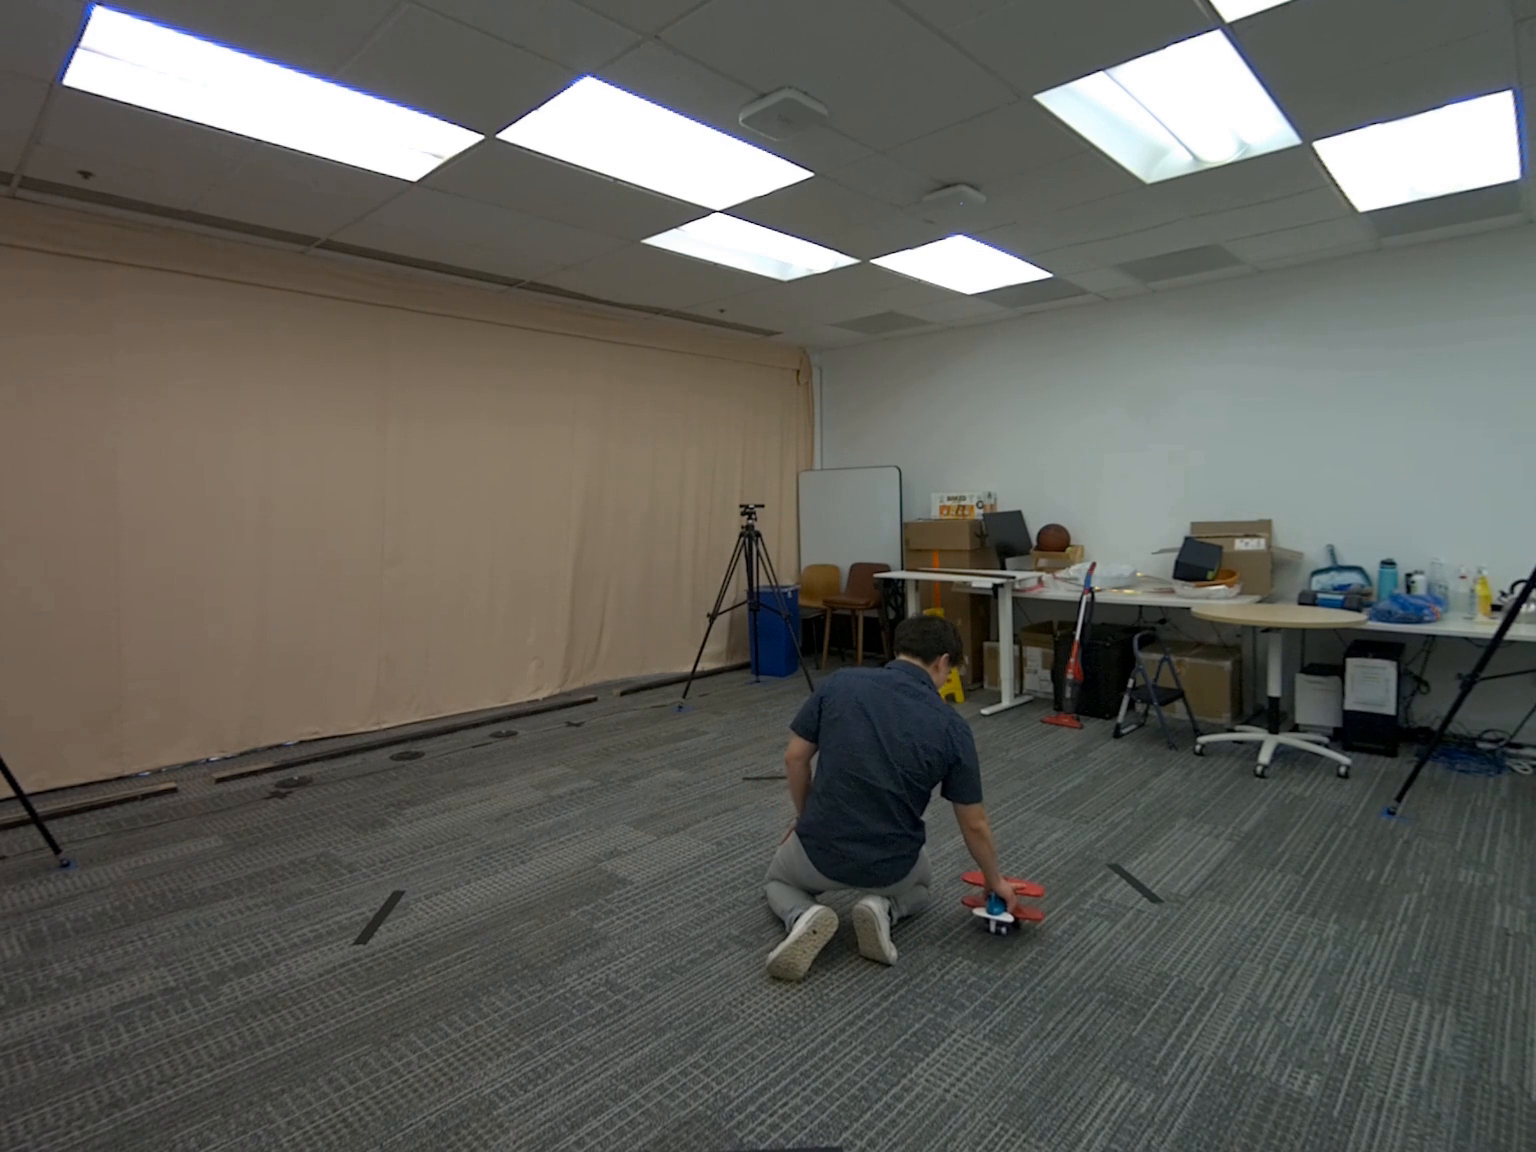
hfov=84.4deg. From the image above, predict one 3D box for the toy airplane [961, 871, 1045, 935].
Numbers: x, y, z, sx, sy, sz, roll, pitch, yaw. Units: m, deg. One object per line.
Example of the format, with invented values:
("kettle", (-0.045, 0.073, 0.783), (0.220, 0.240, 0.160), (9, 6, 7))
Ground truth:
("toy airplane", (0.771, 1.060, 2.684), (0.251, 0.157, 0.258), (8, -10, -1))
